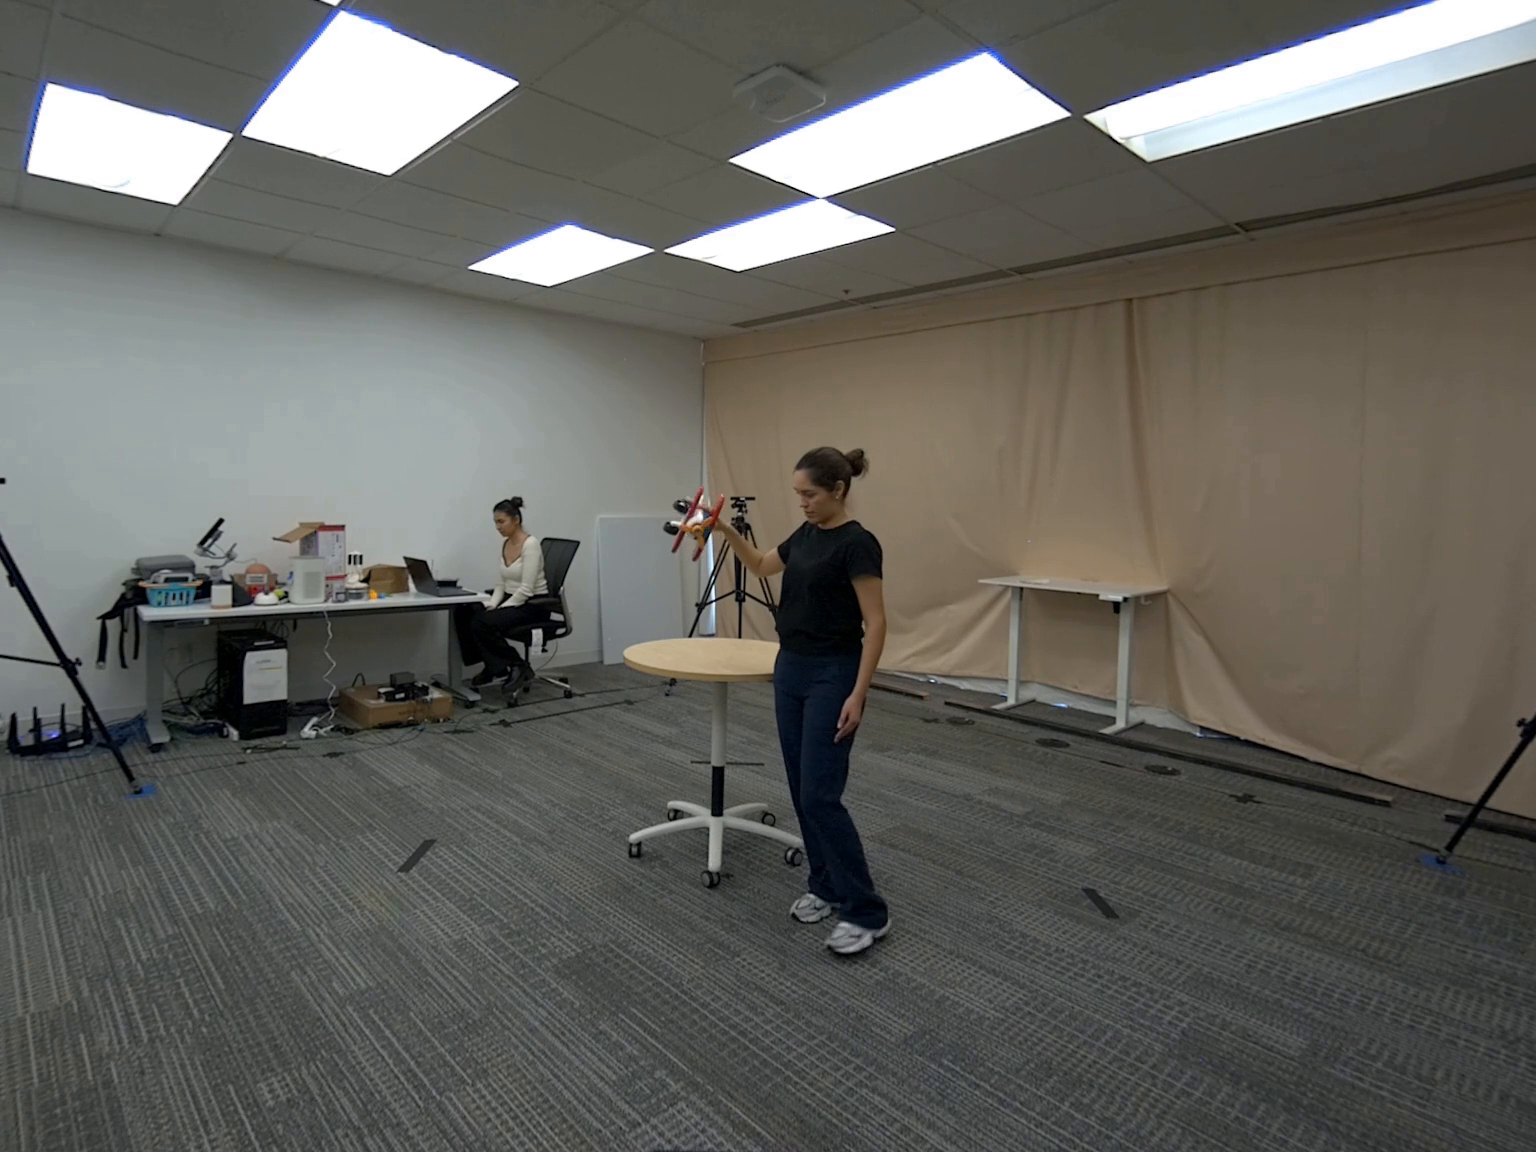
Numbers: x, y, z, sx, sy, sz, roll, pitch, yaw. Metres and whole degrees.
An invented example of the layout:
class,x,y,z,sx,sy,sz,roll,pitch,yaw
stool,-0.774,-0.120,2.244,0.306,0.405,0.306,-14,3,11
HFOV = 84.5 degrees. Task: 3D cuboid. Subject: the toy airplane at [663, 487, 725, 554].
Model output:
class,x,y,z,sx,sy,sz,roll,pitch,yaw
toy airplane,-0.251,-0.208,2.919,0.157,0.248,0.261,25,44,2
